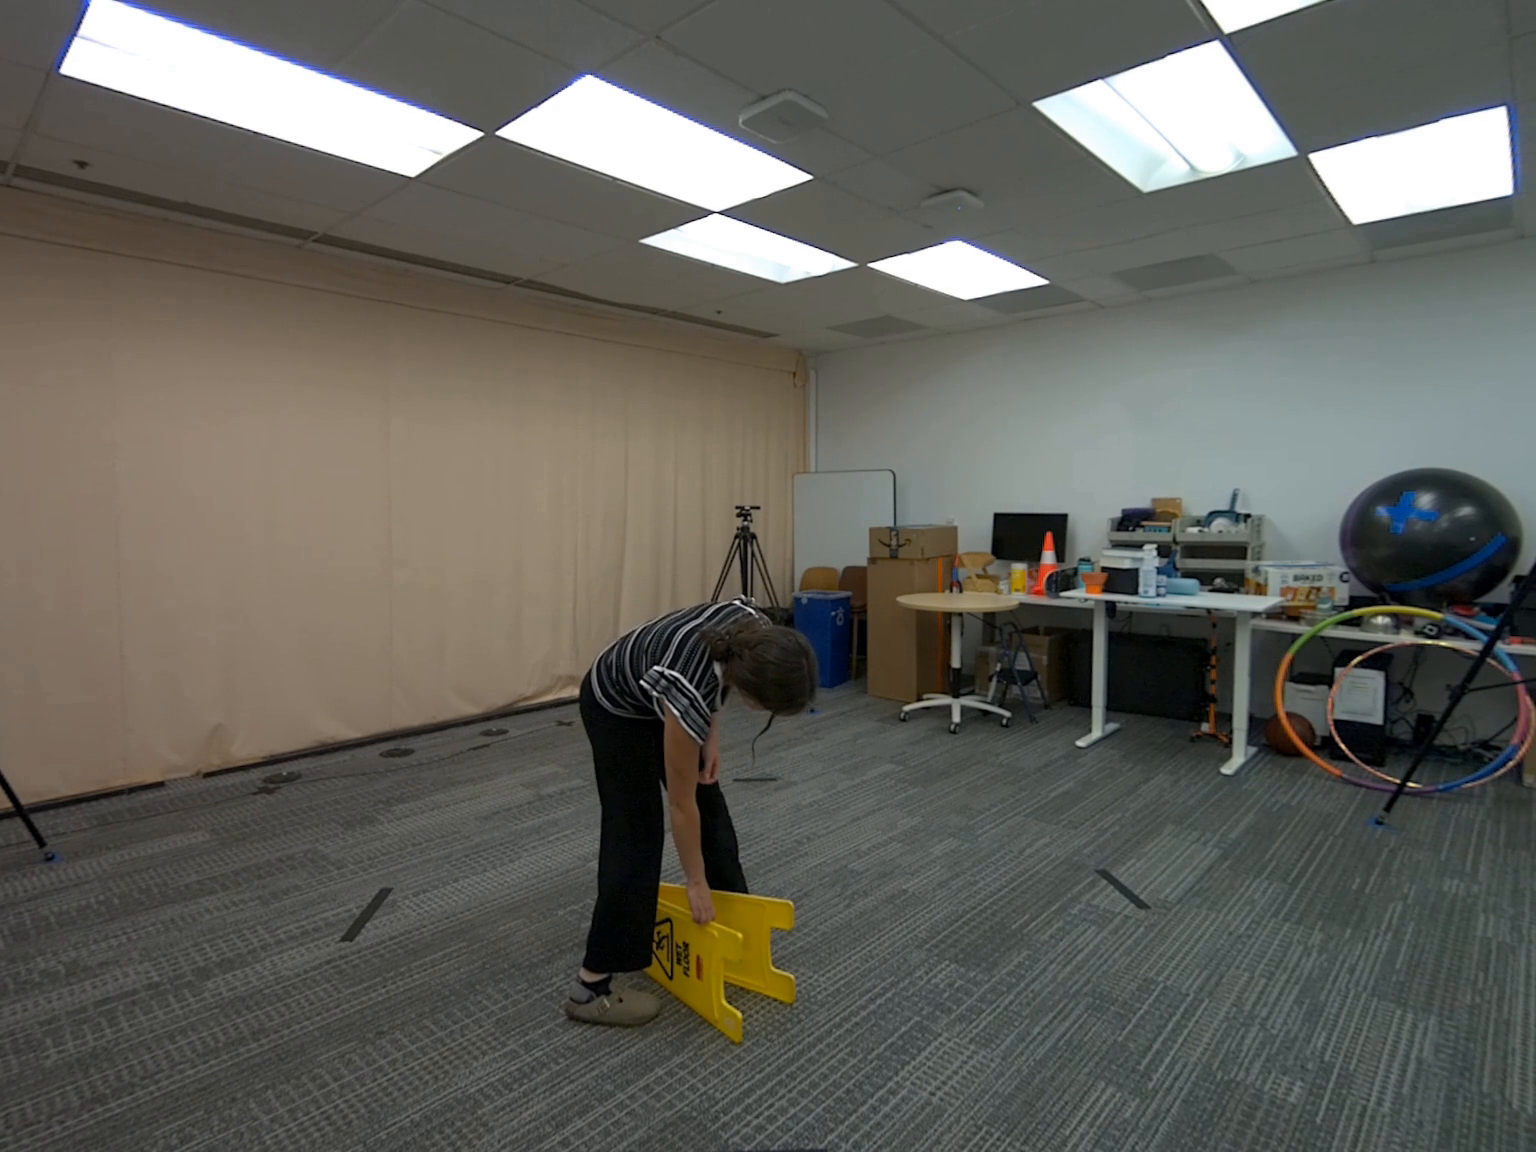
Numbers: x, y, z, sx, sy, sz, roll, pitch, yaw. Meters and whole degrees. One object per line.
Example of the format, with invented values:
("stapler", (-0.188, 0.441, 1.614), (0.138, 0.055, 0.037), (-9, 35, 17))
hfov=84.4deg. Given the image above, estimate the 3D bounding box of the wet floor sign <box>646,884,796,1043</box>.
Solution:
("wet floor sign", (-0.258, 1.064, 2.473), (0.667, 0.282, 0.281), (0, 3, 39))
